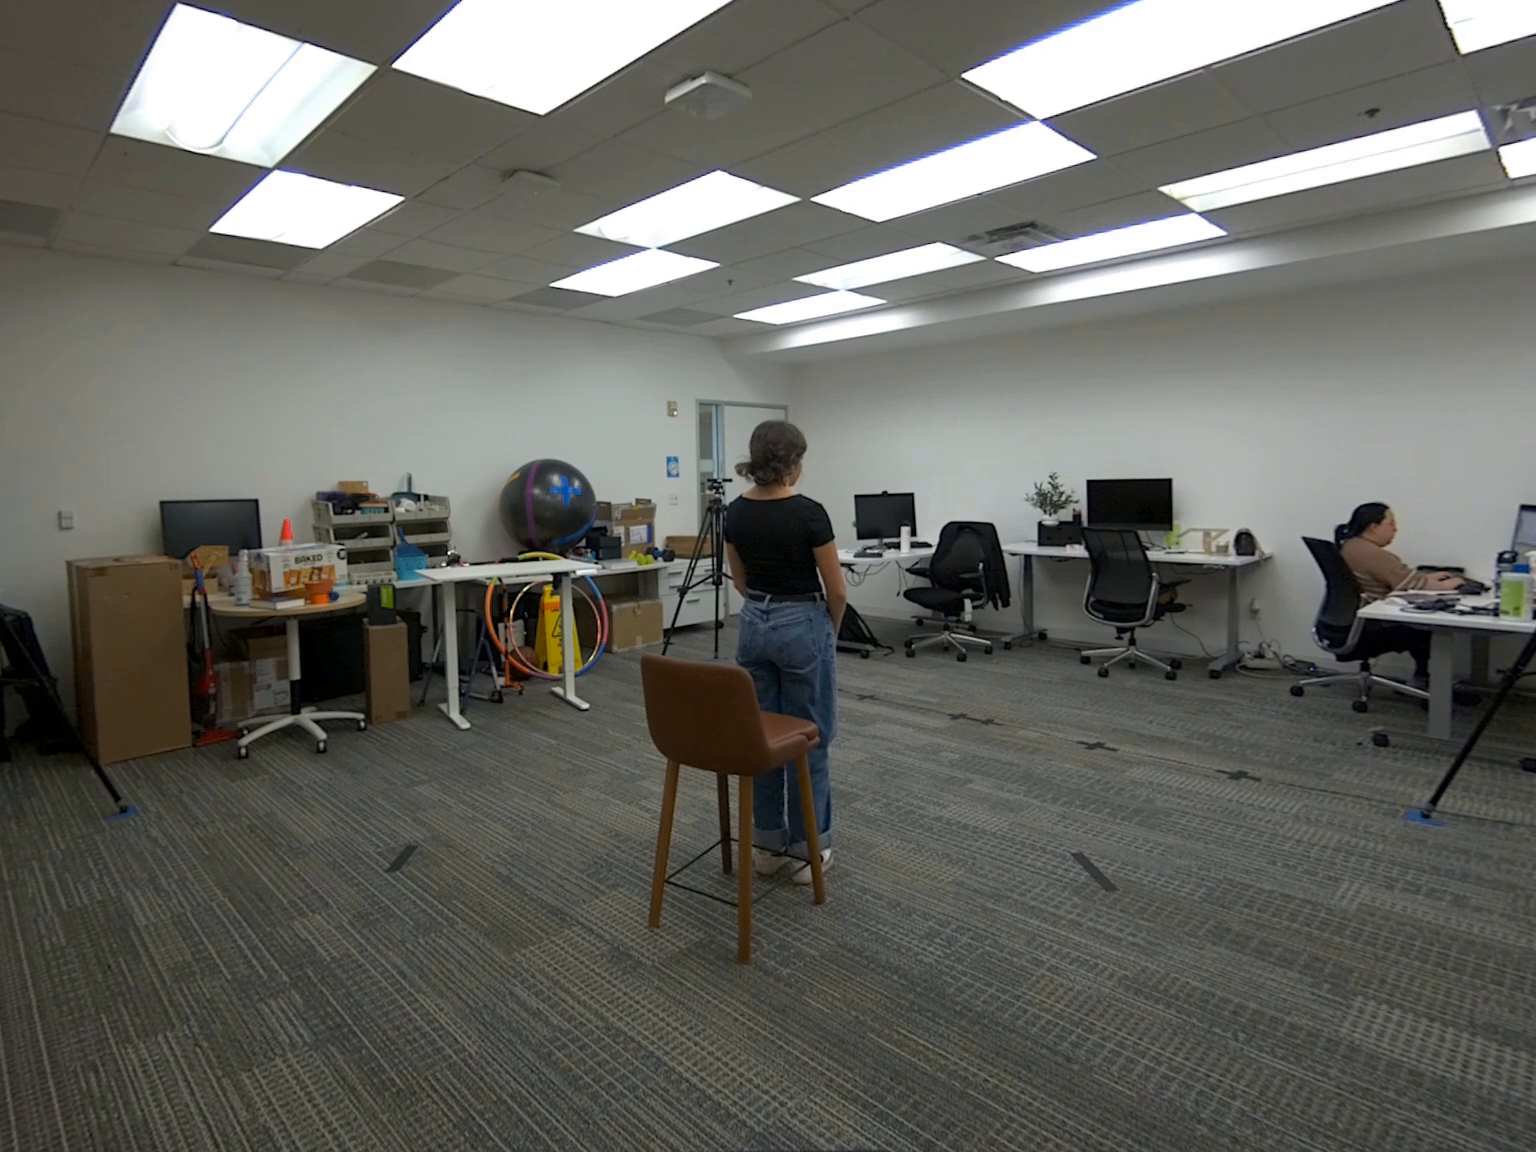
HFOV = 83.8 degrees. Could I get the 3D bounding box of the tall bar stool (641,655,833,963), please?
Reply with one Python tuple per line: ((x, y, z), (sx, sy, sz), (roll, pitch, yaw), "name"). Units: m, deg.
((-0.113, 0.657, 2.721), (0.469, 0.885, 0.457), (2, 7, 35), "tall bar stool")
